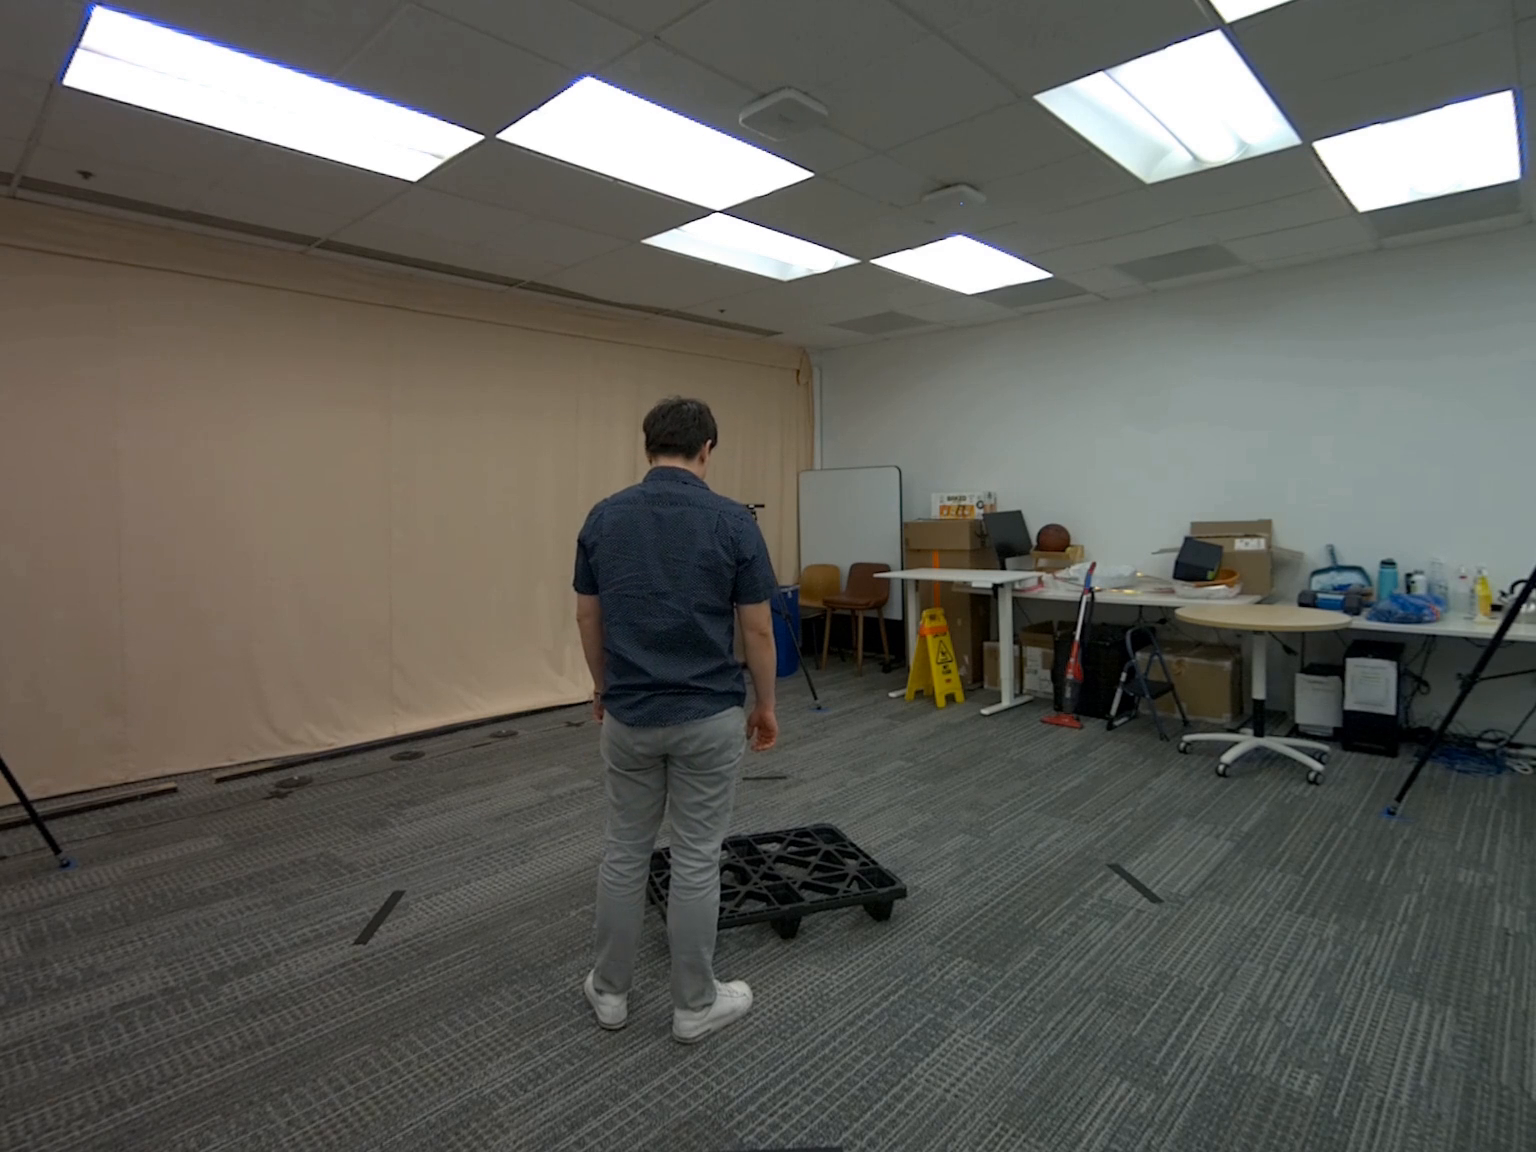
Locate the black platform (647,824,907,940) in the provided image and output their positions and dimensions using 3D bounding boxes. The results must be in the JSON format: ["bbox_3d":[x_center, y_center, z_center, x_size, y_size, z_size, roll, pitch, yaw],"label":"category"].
[{"bbox_3d":[-0.016,1.076,2.919,0.790,0.143,0.618,-2,5,-19],"label":"black platform"}]
